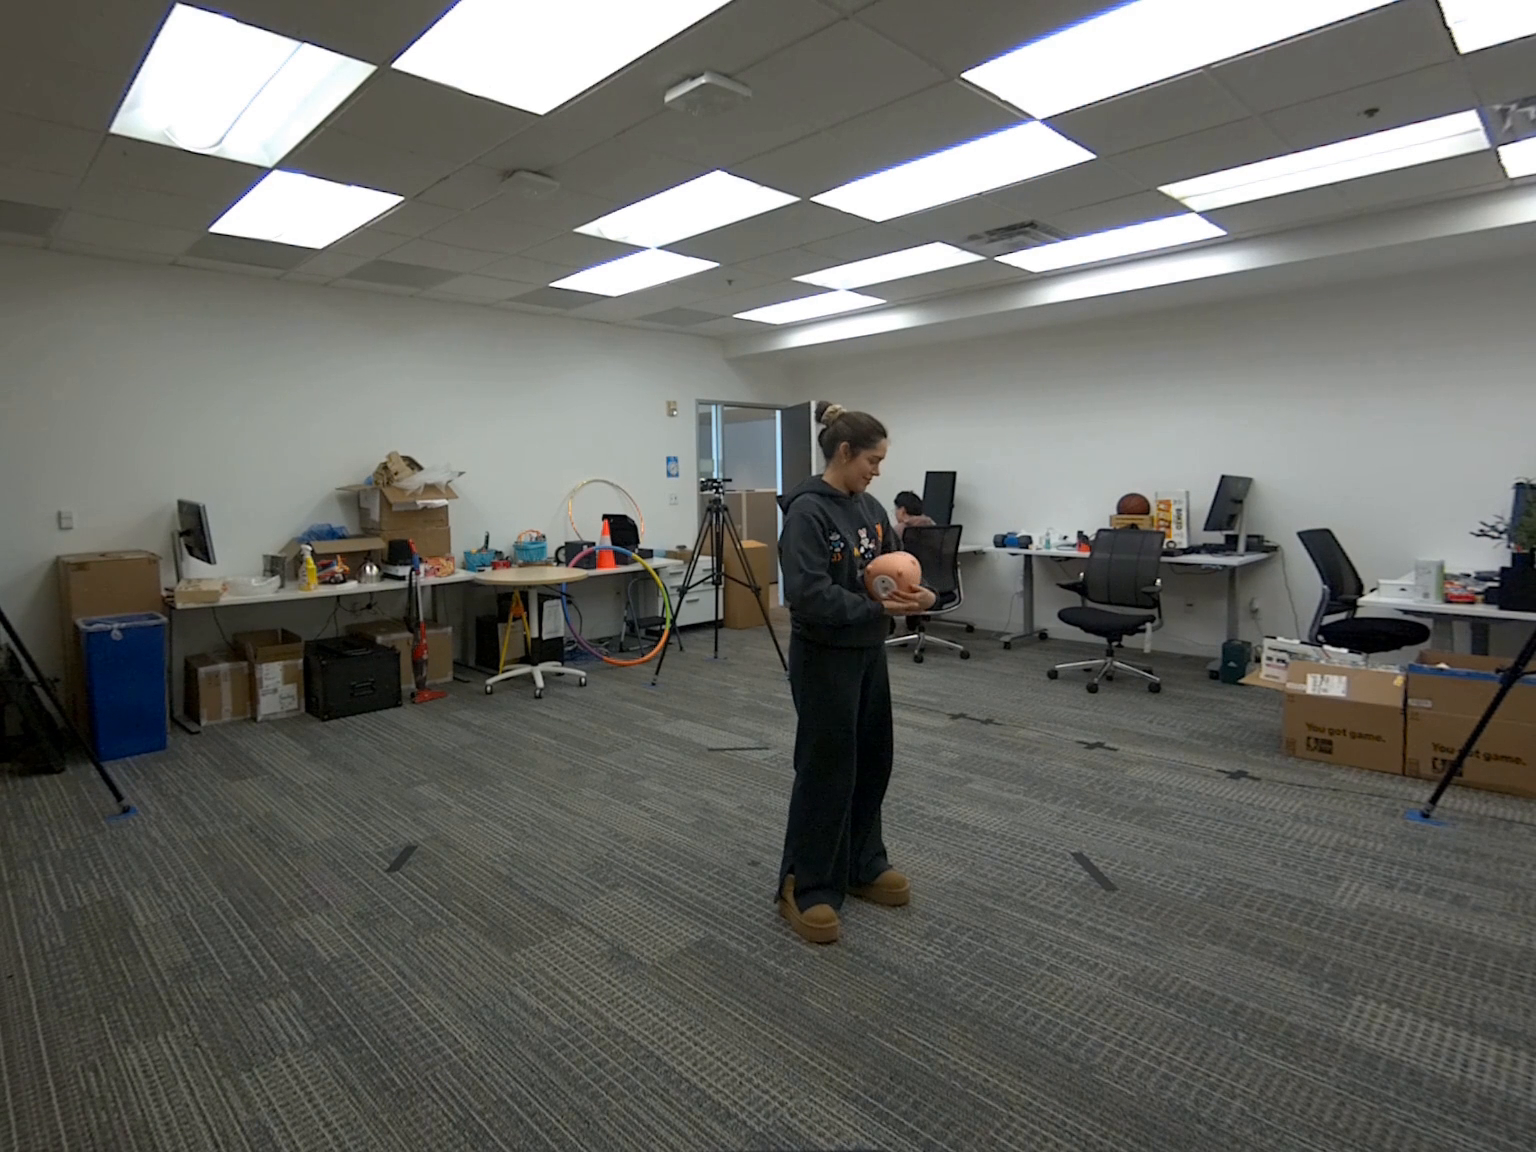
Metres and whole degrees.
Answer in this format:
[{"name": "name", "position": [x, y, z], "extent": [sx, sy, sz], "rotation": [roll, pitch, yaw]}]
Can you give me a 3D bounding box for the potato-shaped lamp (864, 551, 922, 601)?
[{"name": "potato-shaped lamp", "position": [0.386, -0.002, 2.689], "extent": [0.169, 0.167, 0.197], "rotation": [3, 27, 27]}]
